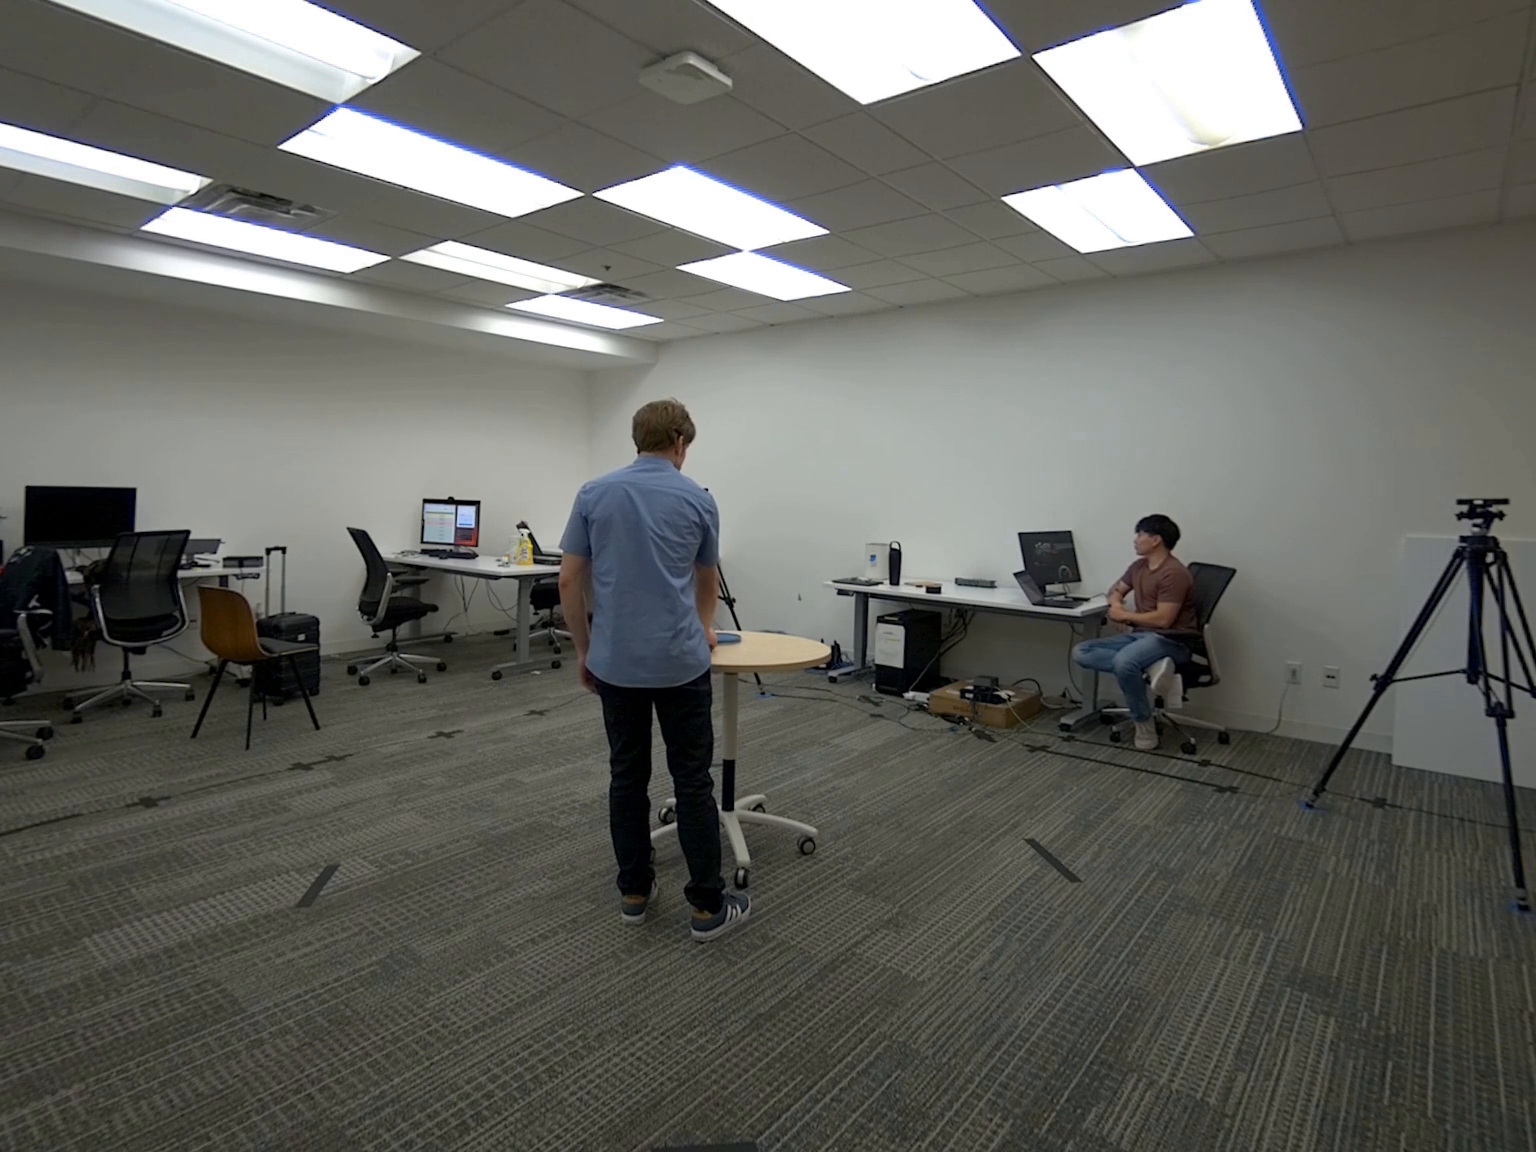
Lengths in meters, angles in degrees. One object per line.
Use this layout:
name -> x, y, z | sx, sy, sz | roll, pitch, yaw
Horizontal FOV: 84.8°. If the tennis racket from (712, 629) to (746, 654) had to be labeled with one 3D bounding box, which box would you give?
tennis racket -> -0.241, 0.253, 3.349 | 0.216, 0.032, 0.428 | 2, 3, 11
